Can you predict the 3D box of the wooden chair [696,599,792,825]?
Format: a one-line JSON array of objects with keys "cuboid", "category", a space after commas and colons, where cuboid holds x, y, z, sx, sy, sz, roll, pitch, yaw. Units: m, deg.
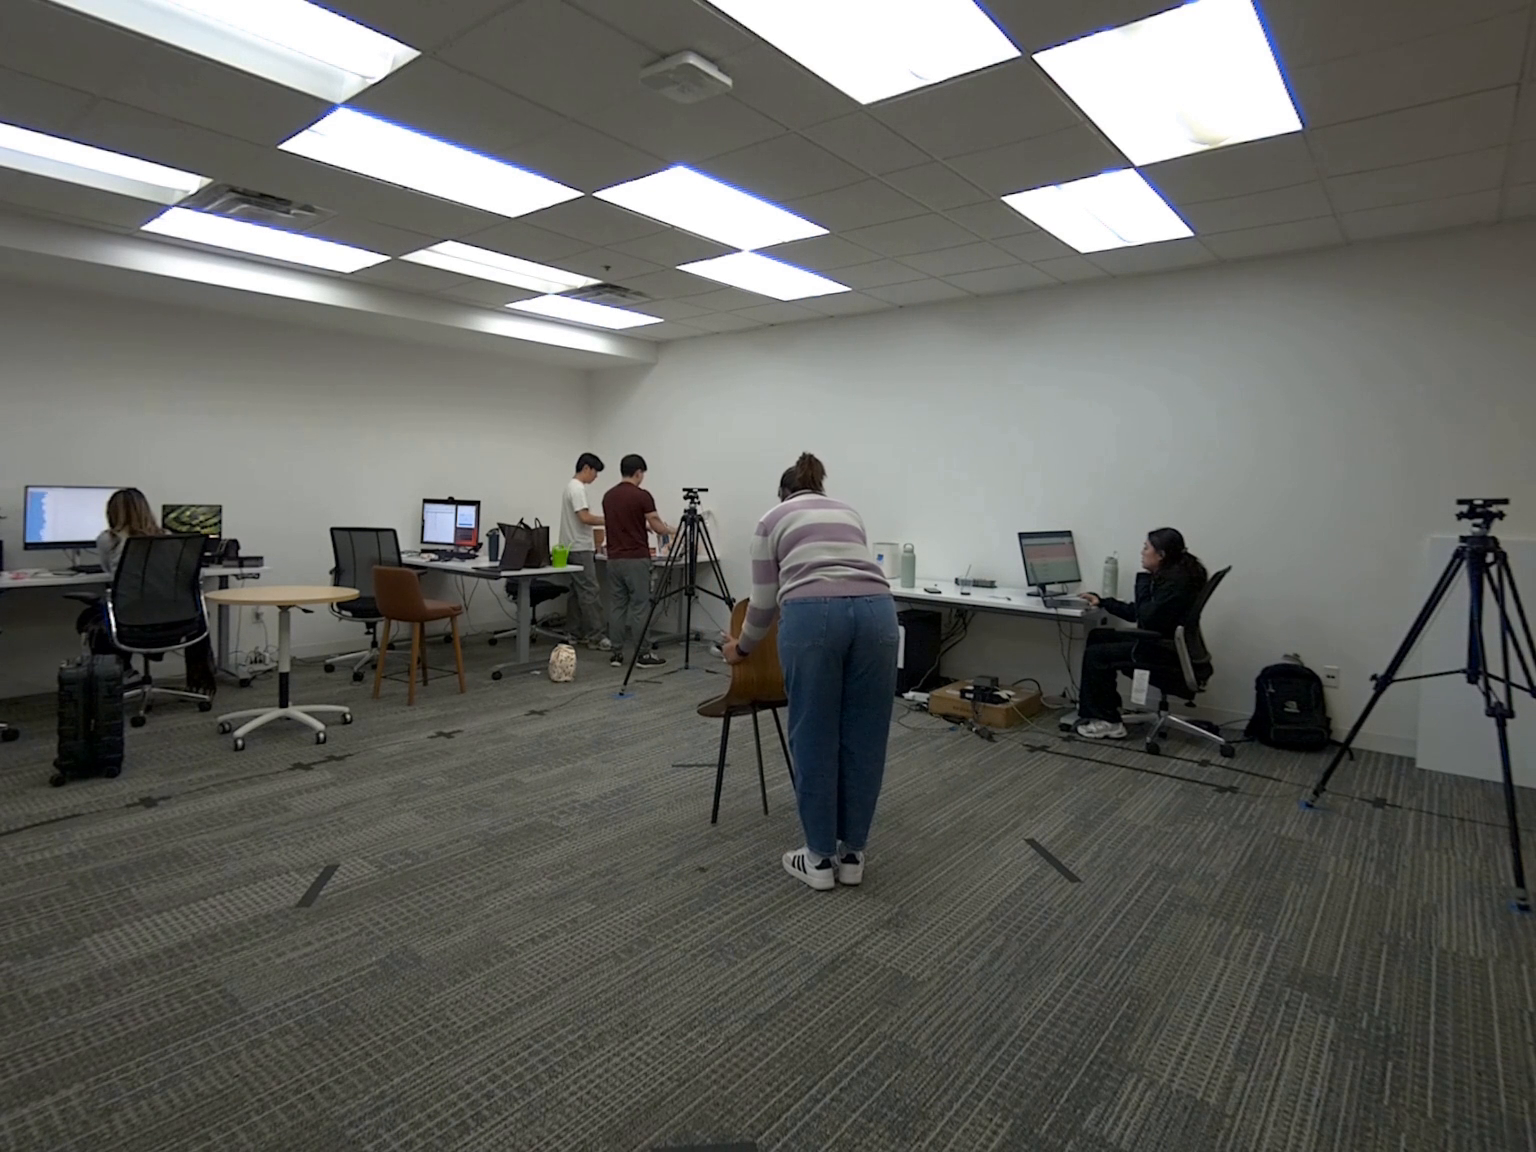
[{"cuboid": [-0.034, 0.548, 3.580, 0.465, 0.891, 0.529, -1, -15, -30], "category": "wooden chair"}]
